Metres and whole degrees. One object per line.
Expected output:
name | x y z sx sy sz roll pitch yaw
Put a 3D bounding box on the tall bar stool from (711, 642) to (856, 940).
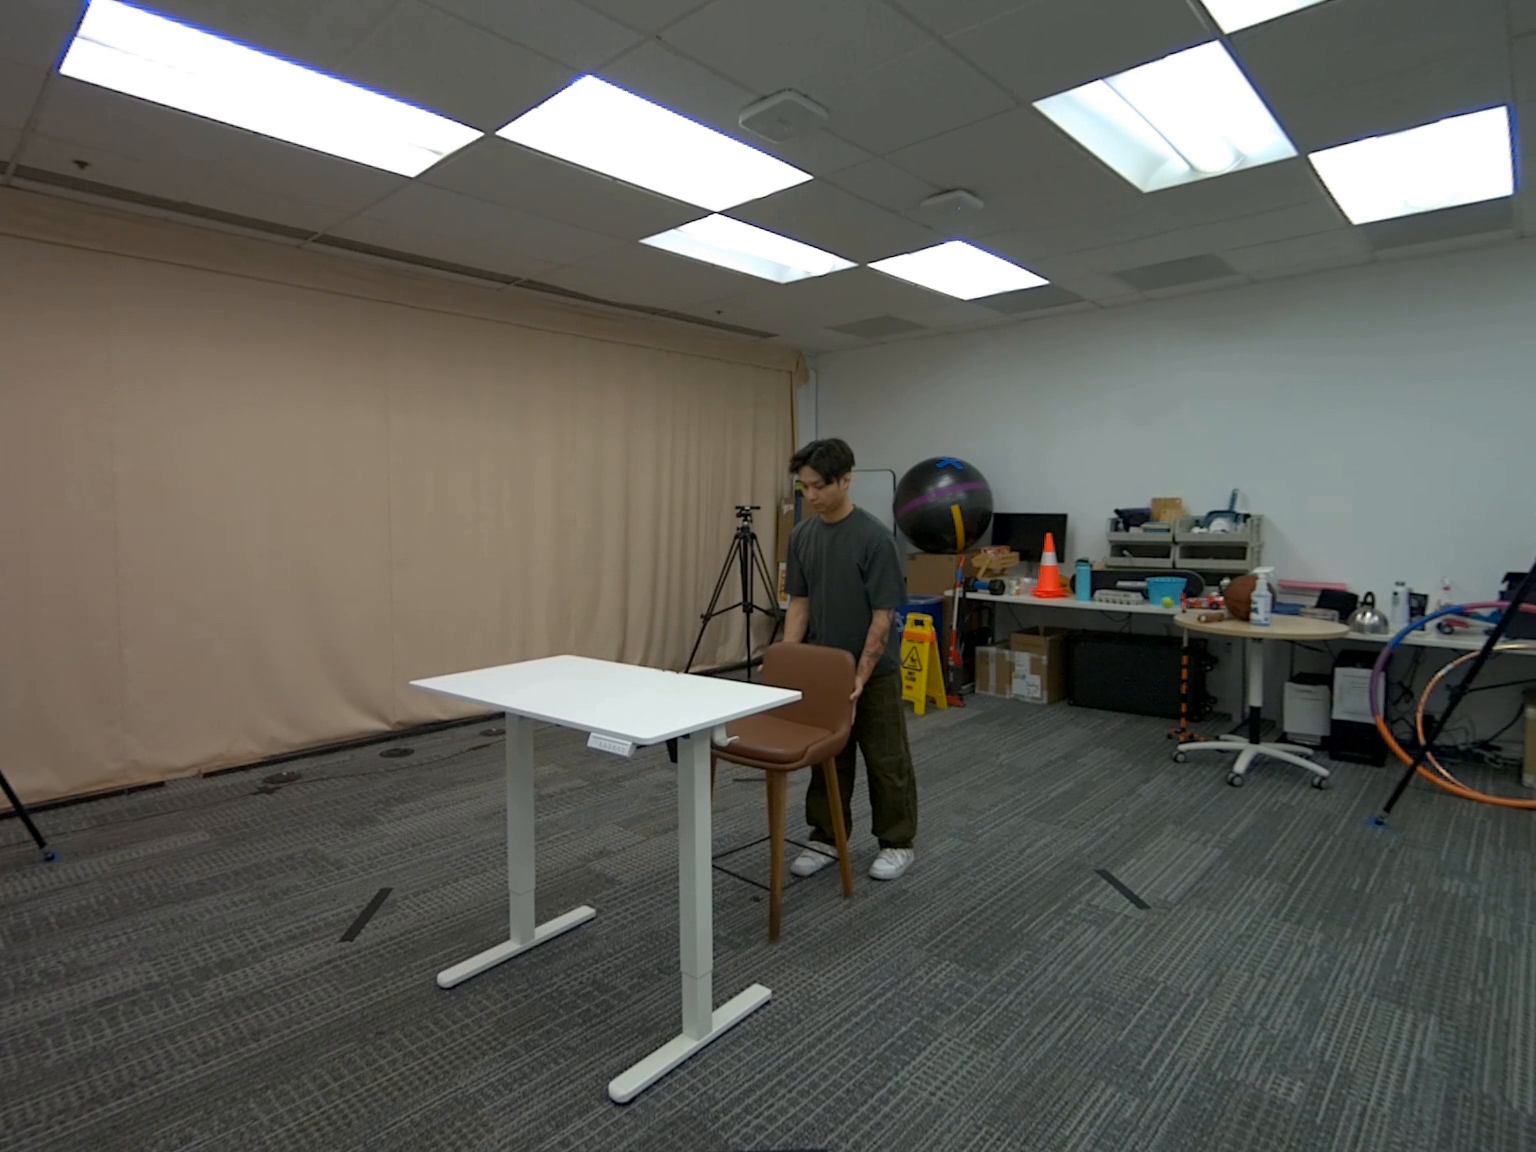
tall bar stool | 0.028 0.710 2.958 0.471 0.889 0.453 2 2 43
